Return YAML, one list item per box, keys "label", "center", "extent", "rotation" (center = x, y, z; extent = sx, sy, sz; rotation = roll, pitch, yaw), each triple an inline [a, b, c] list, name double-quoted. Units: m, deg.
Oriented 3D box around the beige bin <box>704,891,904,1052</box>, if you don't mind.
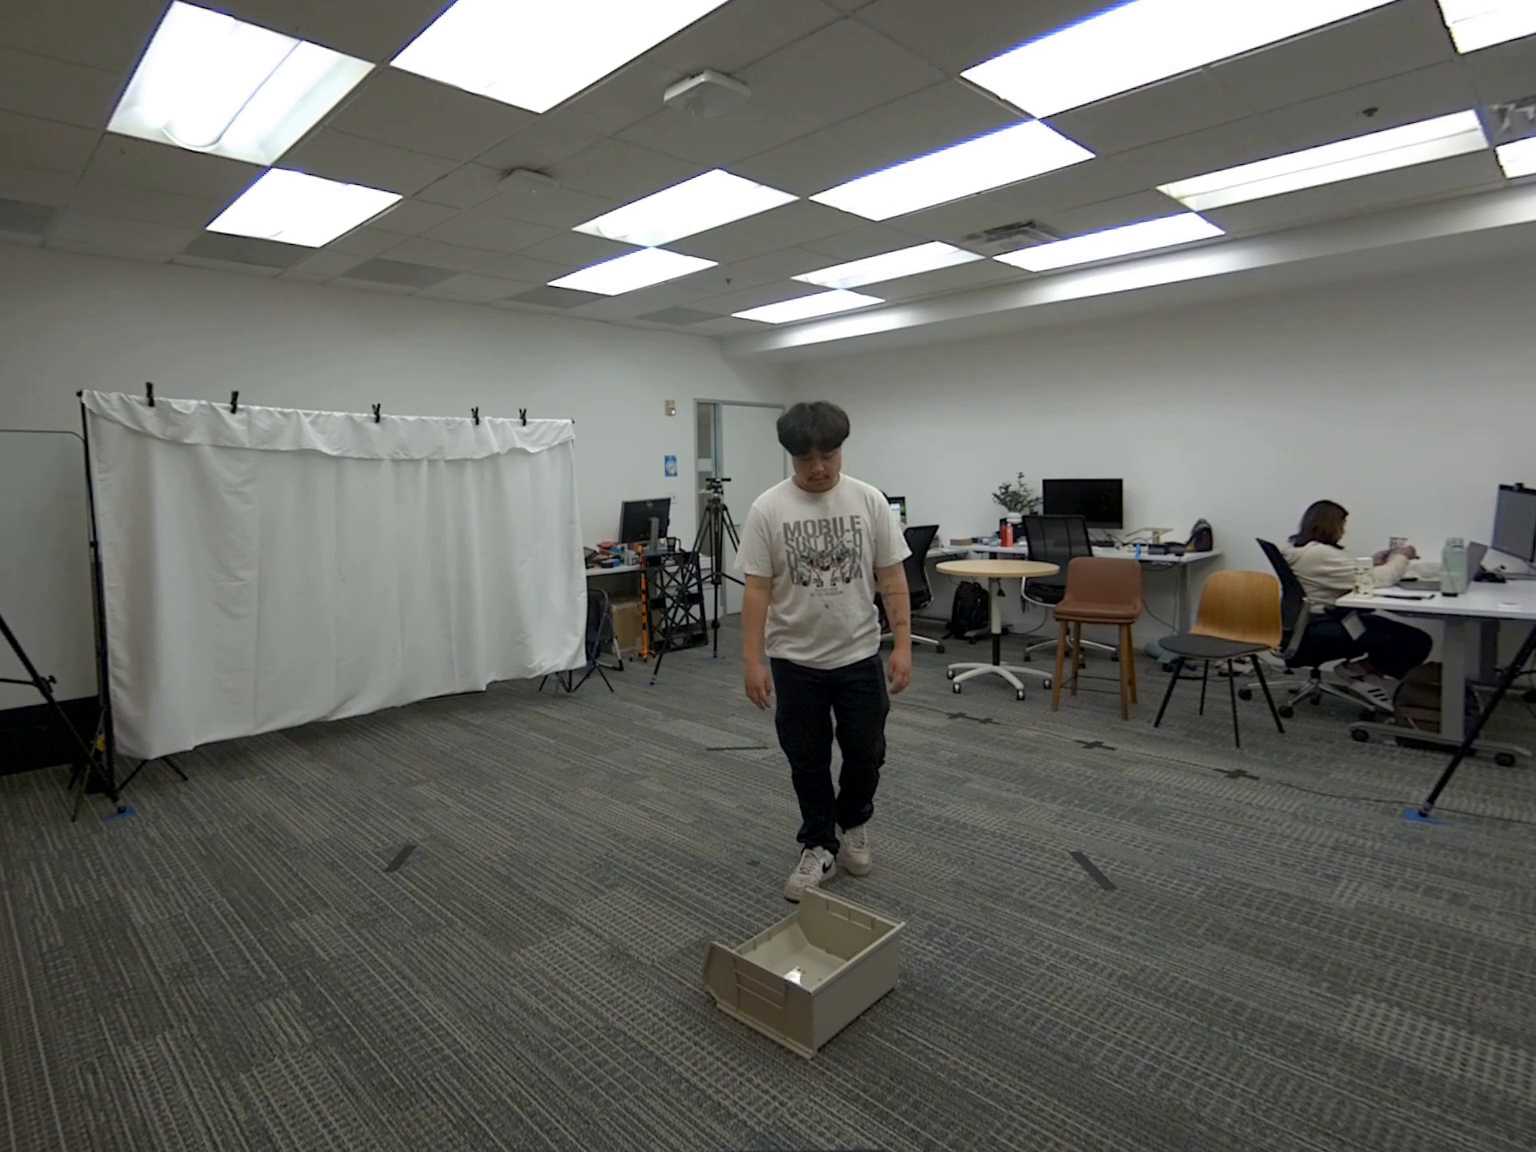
- label: "beige bin"
  center: [0.107, 1.049, 2.310]
  extent: [0.389, 0.188, 0.411]
  rotation: [5, 8, 41]
